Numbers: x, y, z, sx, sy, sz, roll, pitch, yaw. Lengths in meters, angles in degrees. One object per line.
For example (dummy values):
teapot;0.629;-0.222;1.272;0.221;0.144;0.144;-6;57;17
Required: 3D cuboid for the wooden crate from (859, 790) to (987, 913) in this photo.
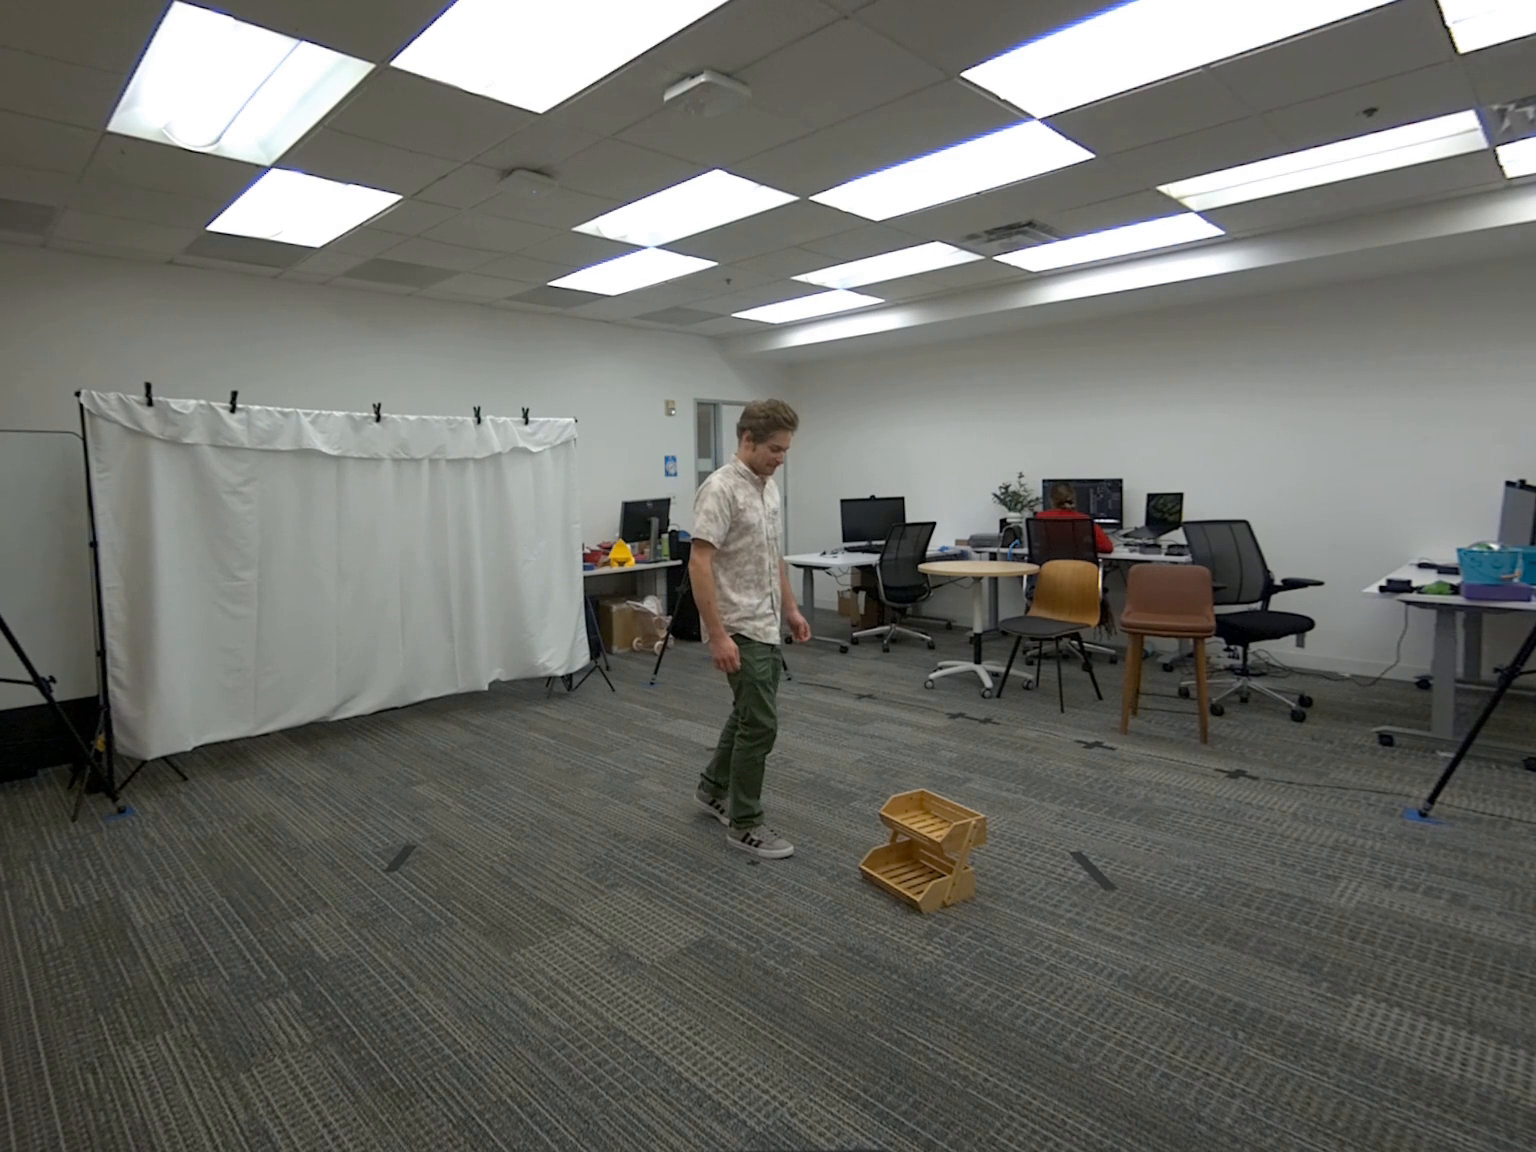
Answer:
wooden crate;0.526;0.922;2.903;0.295;0.272;0.334;-3;5;-32
